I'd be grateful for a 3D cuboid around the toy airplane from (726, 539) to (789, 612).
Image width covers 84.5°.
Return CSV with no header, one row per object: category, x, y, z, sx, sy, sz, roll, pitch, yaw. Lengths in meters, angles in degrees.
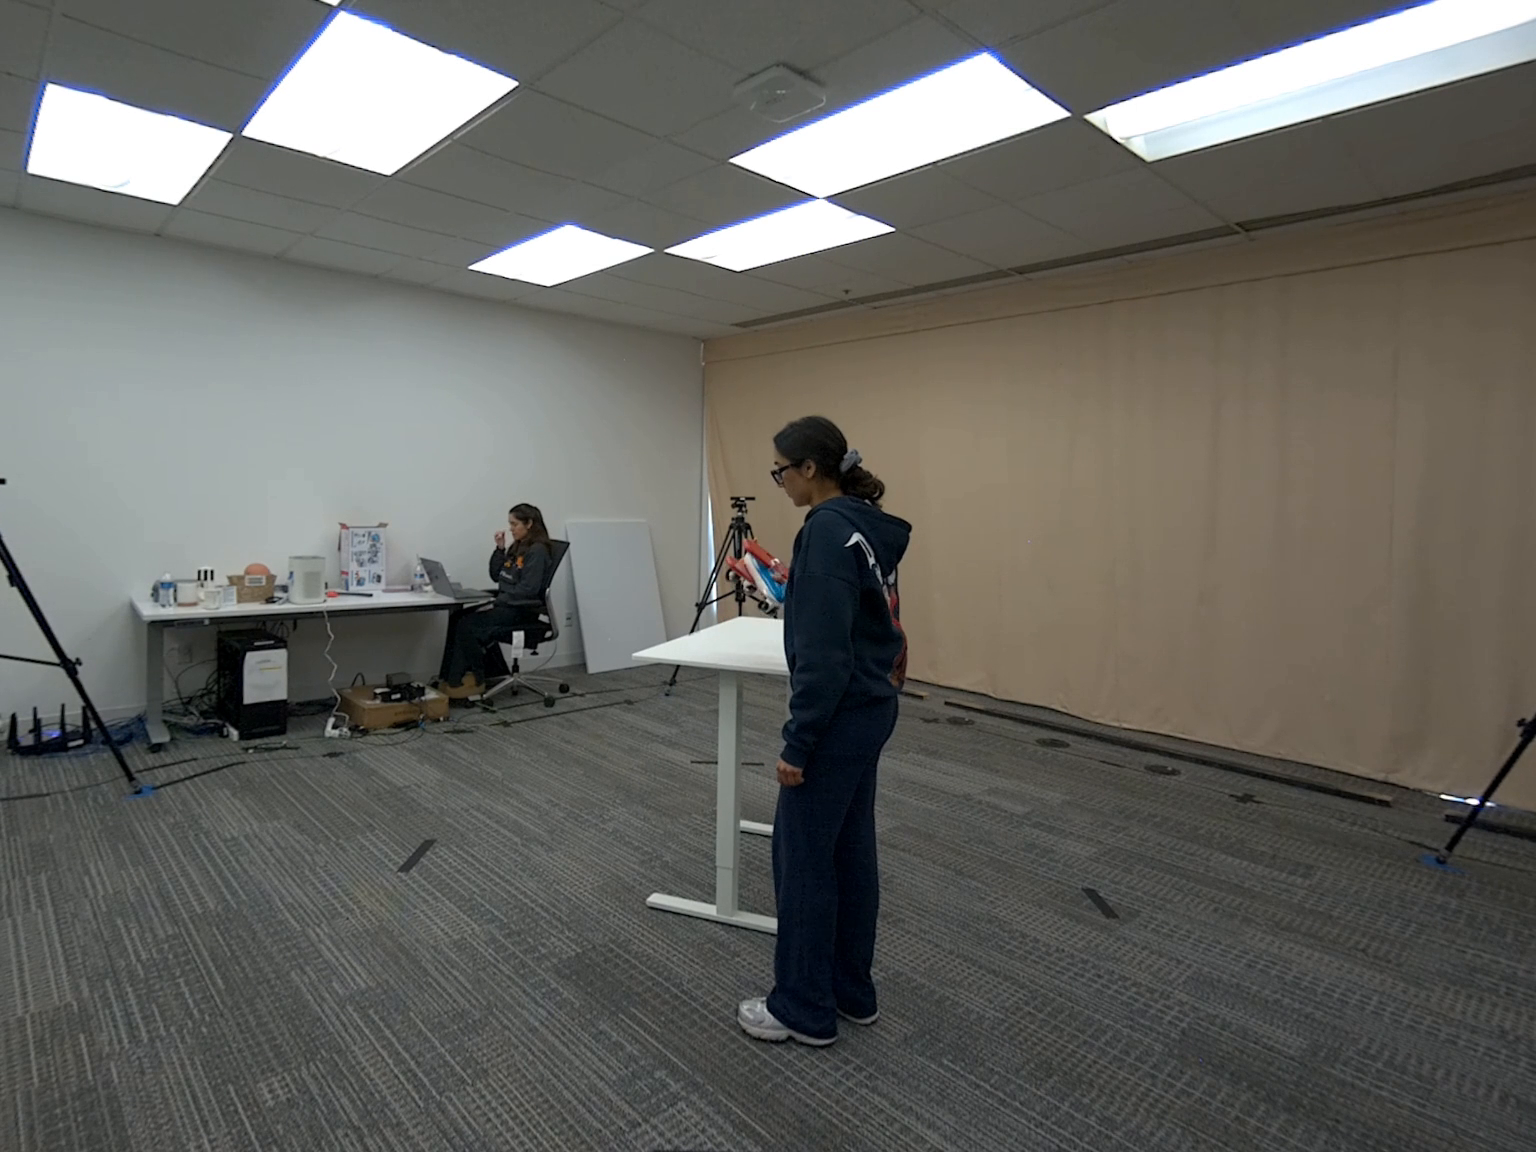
toy airplane,-0.014,0.024,2.708,0.265,0.156,0.245,40,3,22
